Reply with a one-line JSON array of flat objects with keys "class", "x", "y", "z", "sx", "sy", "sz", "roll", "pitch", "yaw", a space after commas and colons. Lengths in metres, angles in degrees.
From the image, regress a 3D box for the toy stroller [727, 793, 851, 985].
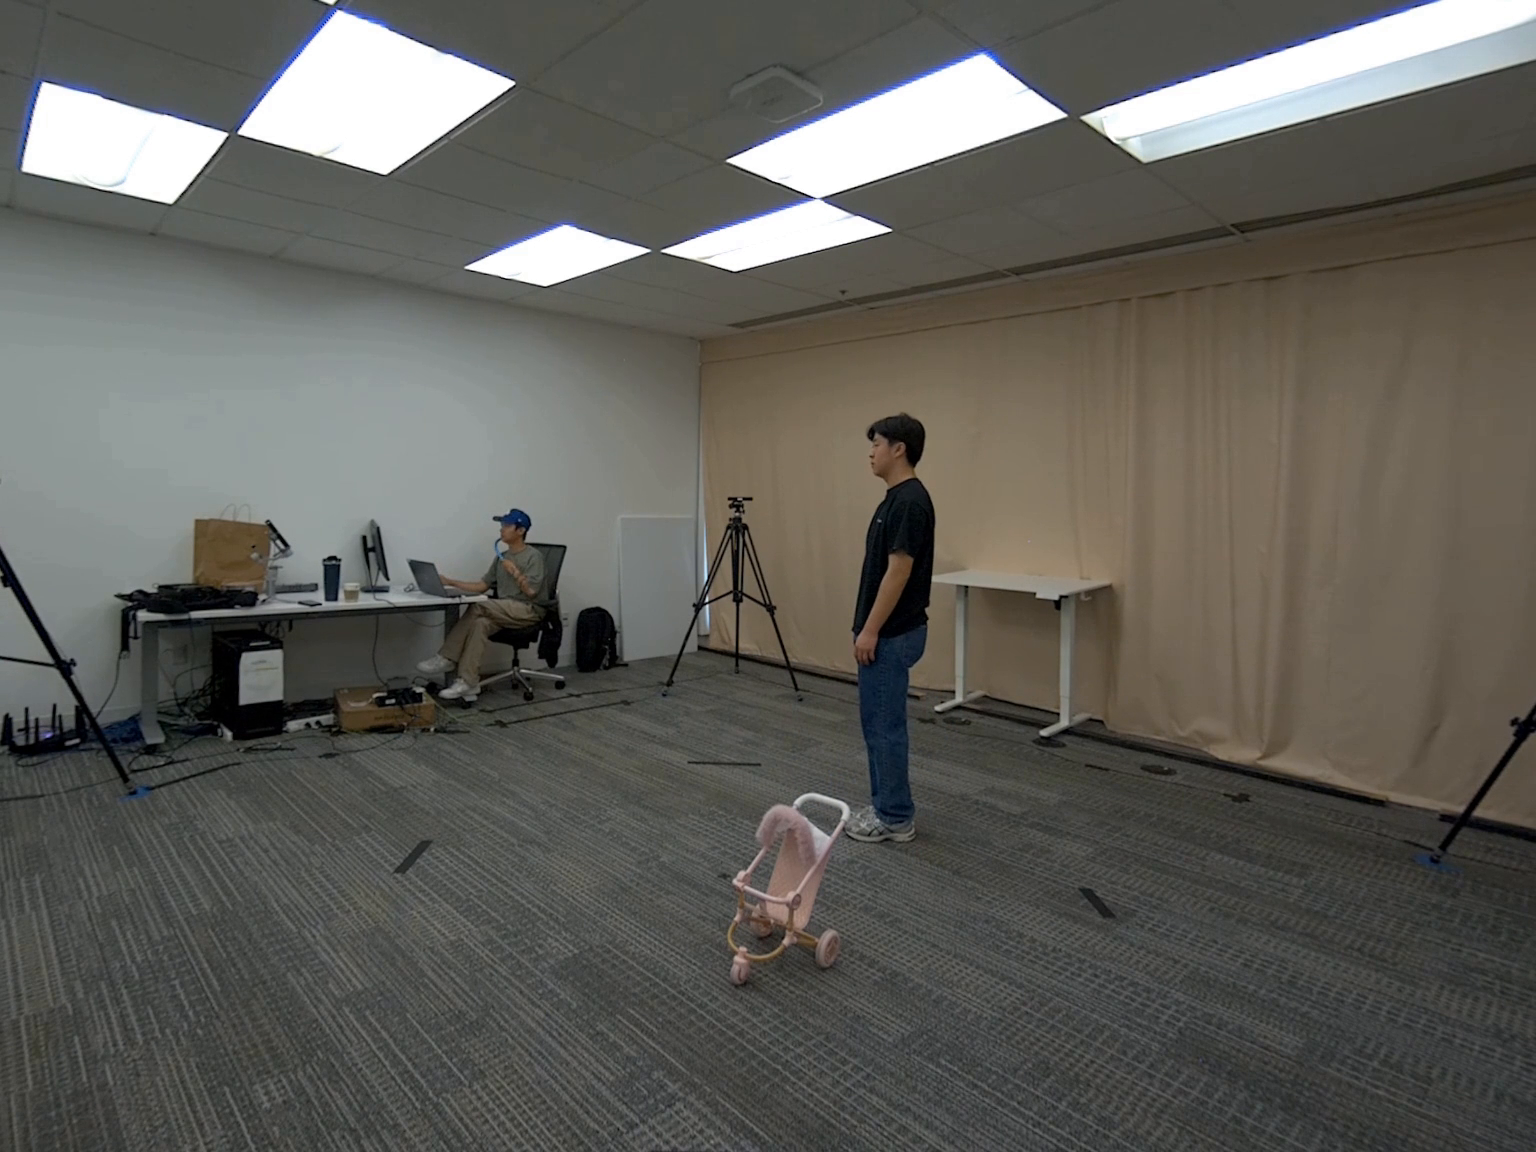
[{"class": "toy stroller", "x": 0.038, "y": 0.936, "z": 2.540, "sx": 0.288, "sy": 0.537, "sz": 0.331, "roll": 5, "pitch": -10, "yaw": 45}]
